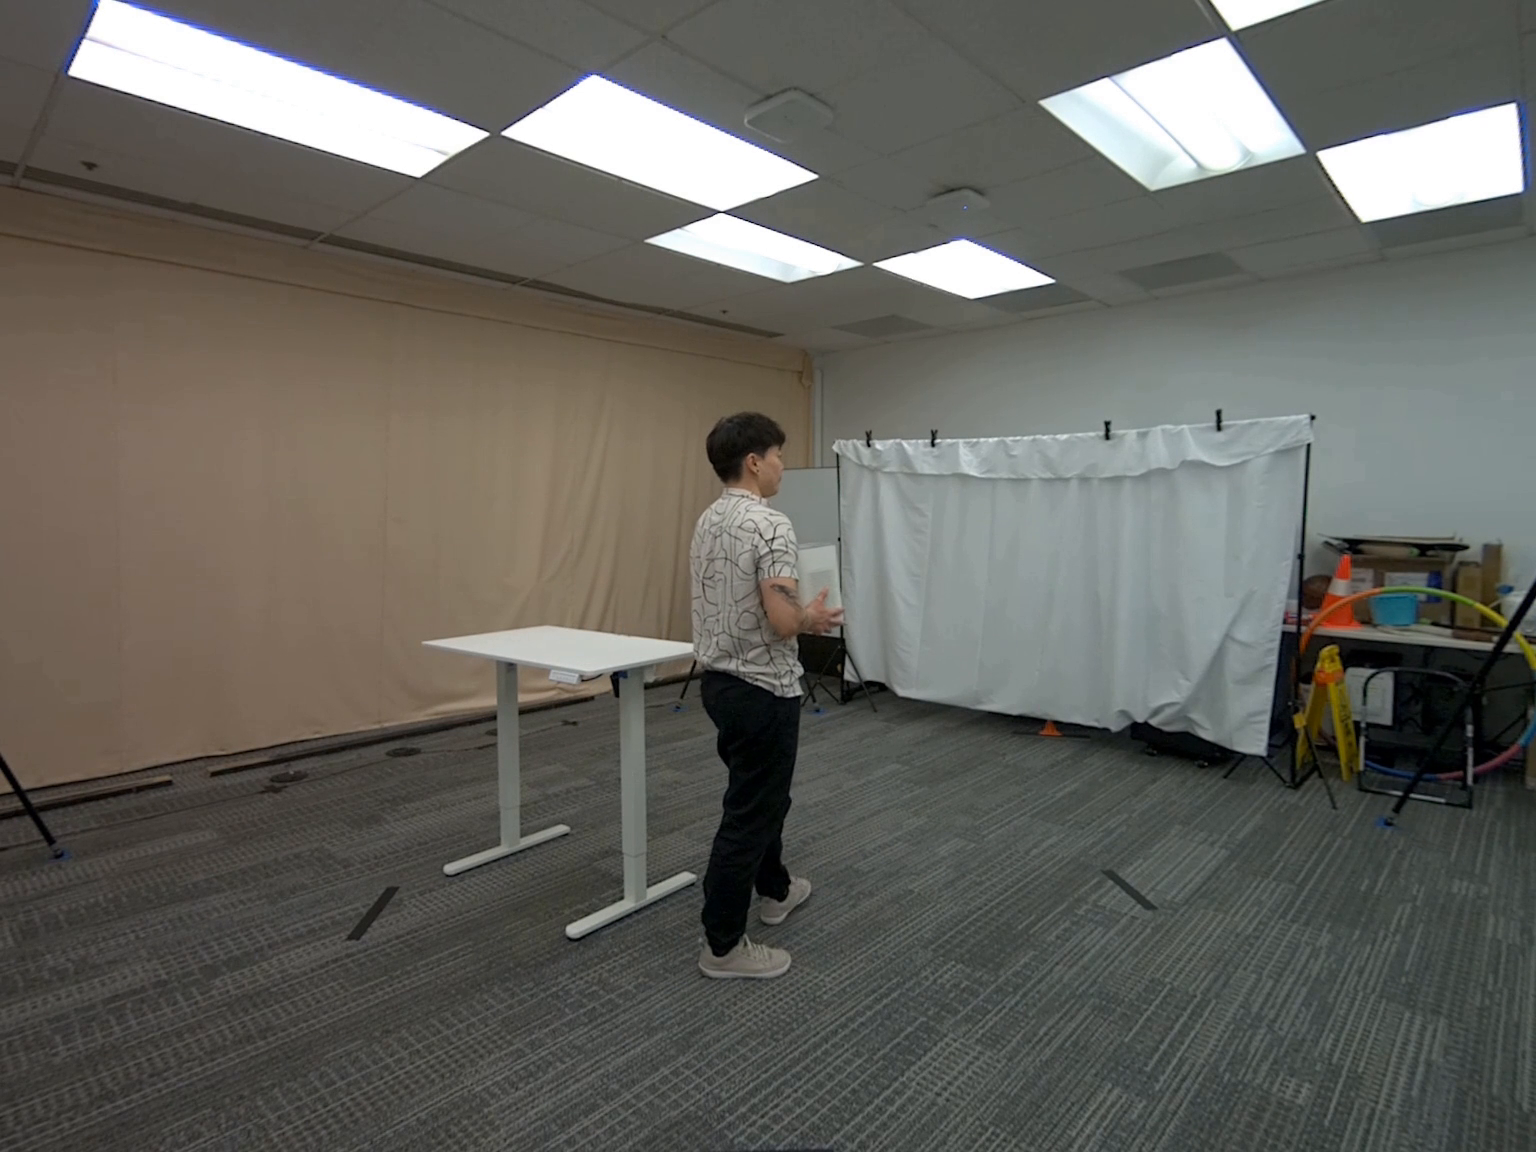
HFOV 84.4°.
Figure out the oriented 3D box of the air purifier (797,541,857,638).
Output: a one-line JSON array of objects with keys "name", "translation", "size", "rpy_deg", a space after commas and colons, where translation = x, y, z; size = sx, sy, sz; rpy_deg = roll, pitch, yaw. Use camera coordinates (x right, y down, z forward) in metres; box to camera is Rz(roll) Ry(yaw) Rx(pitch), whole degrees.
[{"name": "air purifier", "translation": [0.139, 0.035, 2.651], "size": [0.168, 0.264, 0.175], "rpy_deg": [-10, 5, -27]}]
